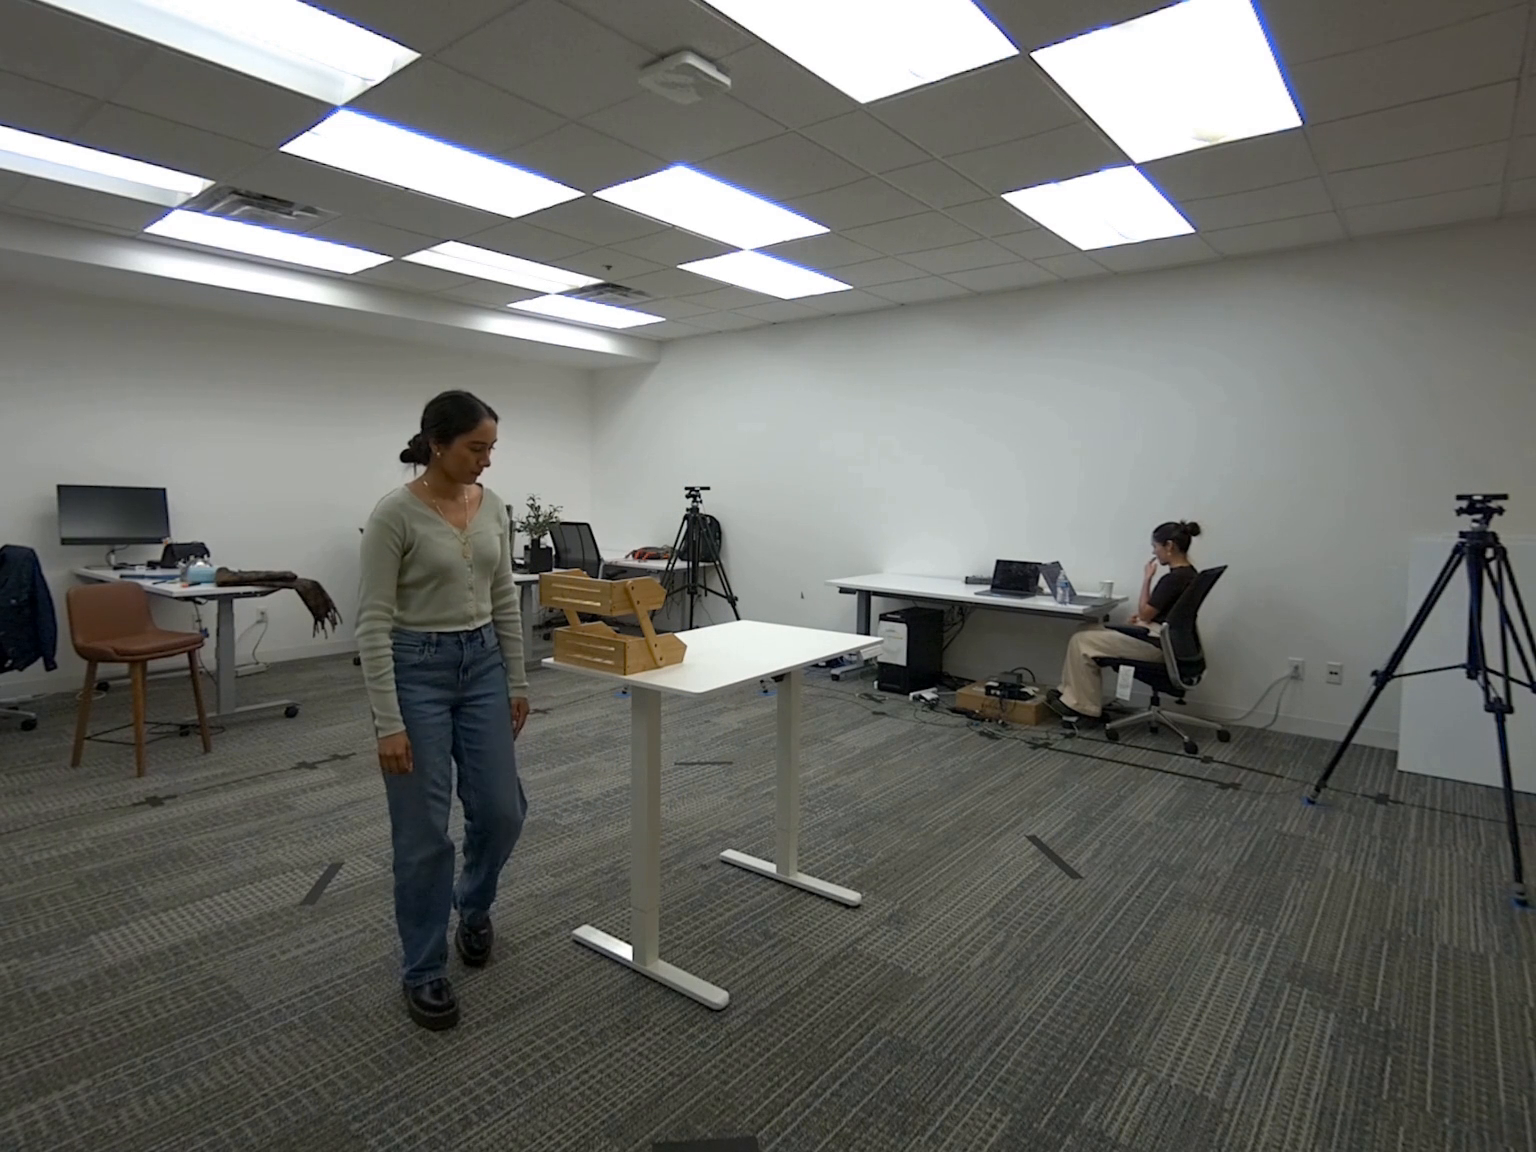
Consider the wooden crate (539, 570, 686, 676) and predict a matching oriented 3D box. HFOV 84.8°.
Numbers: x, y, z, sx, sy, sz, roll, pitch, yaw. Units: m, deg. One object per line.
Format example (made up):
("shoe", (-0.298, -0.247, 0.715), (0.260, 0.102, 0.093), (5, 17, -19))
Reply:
("wooden crate", (-0.452, 0.116, 2.451), (0.335, 0.272, 0.294), (4, 7, 37))
